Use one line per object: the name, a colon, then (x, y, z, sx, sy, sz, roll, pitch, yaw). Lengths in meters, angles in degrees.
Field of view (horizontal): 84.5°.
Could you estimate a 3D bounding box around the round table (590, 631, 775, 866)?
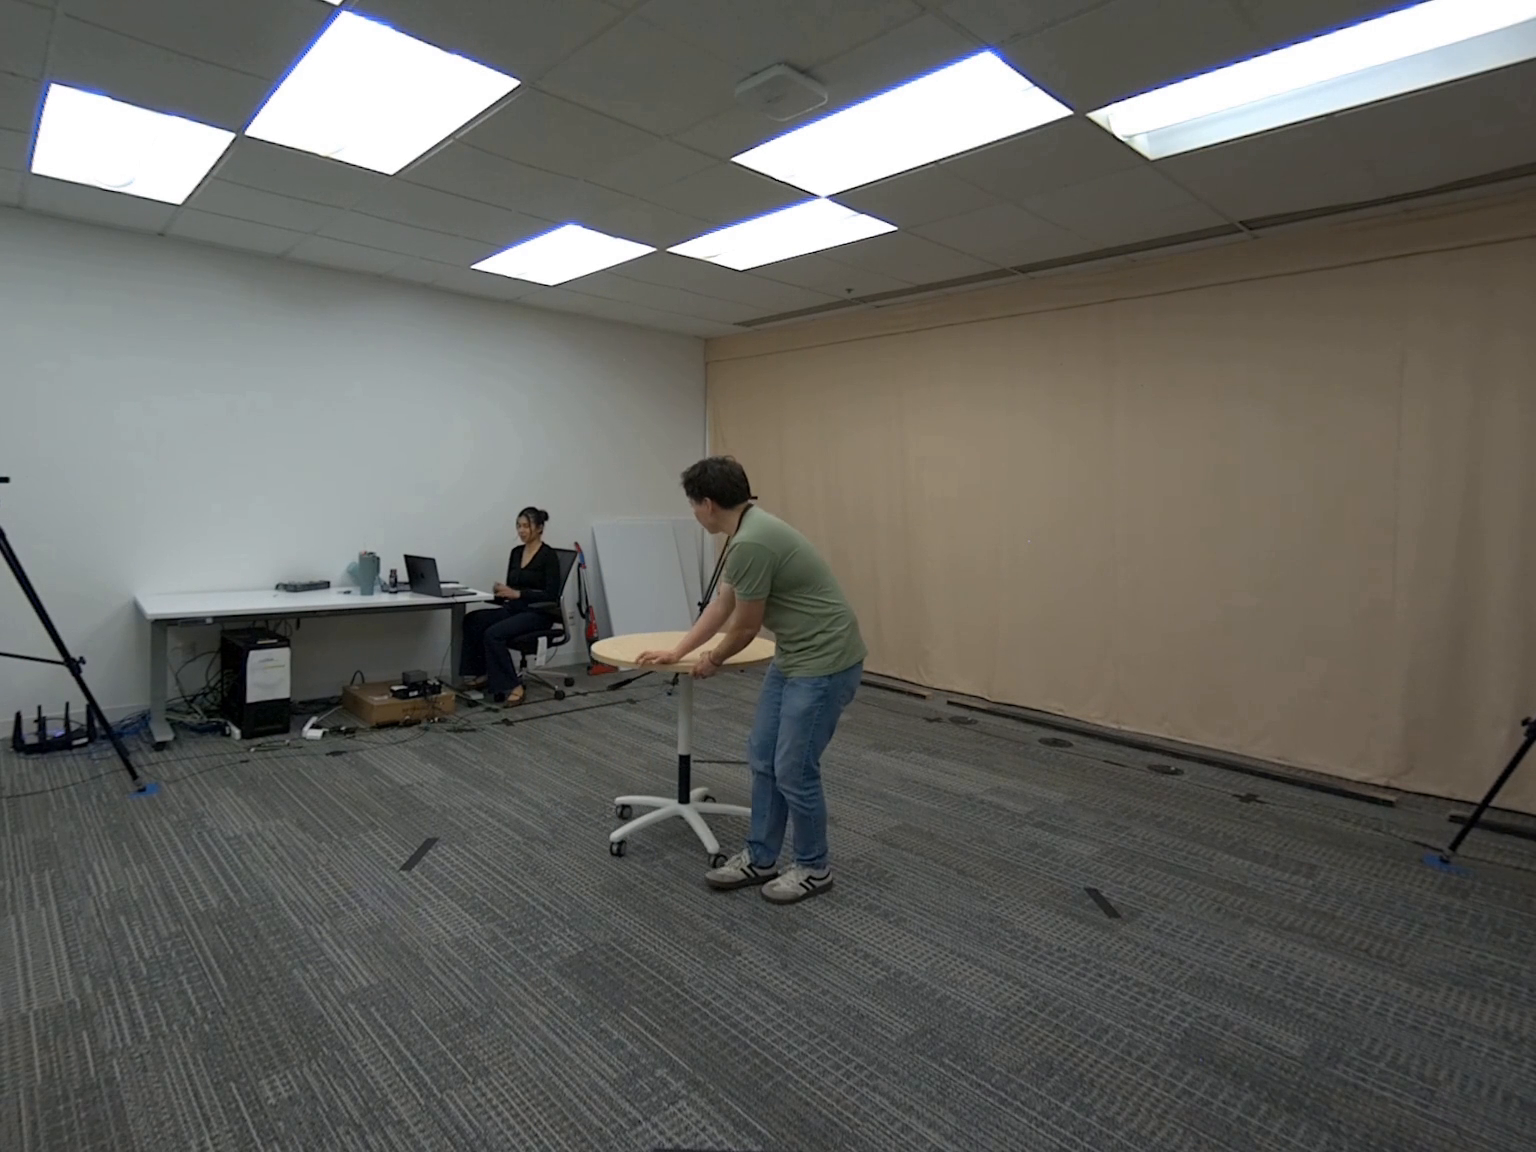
round table: (-0.346, 0.680, 3.426, 0.763, 0.792, 0.766, 1, 3, -1)
